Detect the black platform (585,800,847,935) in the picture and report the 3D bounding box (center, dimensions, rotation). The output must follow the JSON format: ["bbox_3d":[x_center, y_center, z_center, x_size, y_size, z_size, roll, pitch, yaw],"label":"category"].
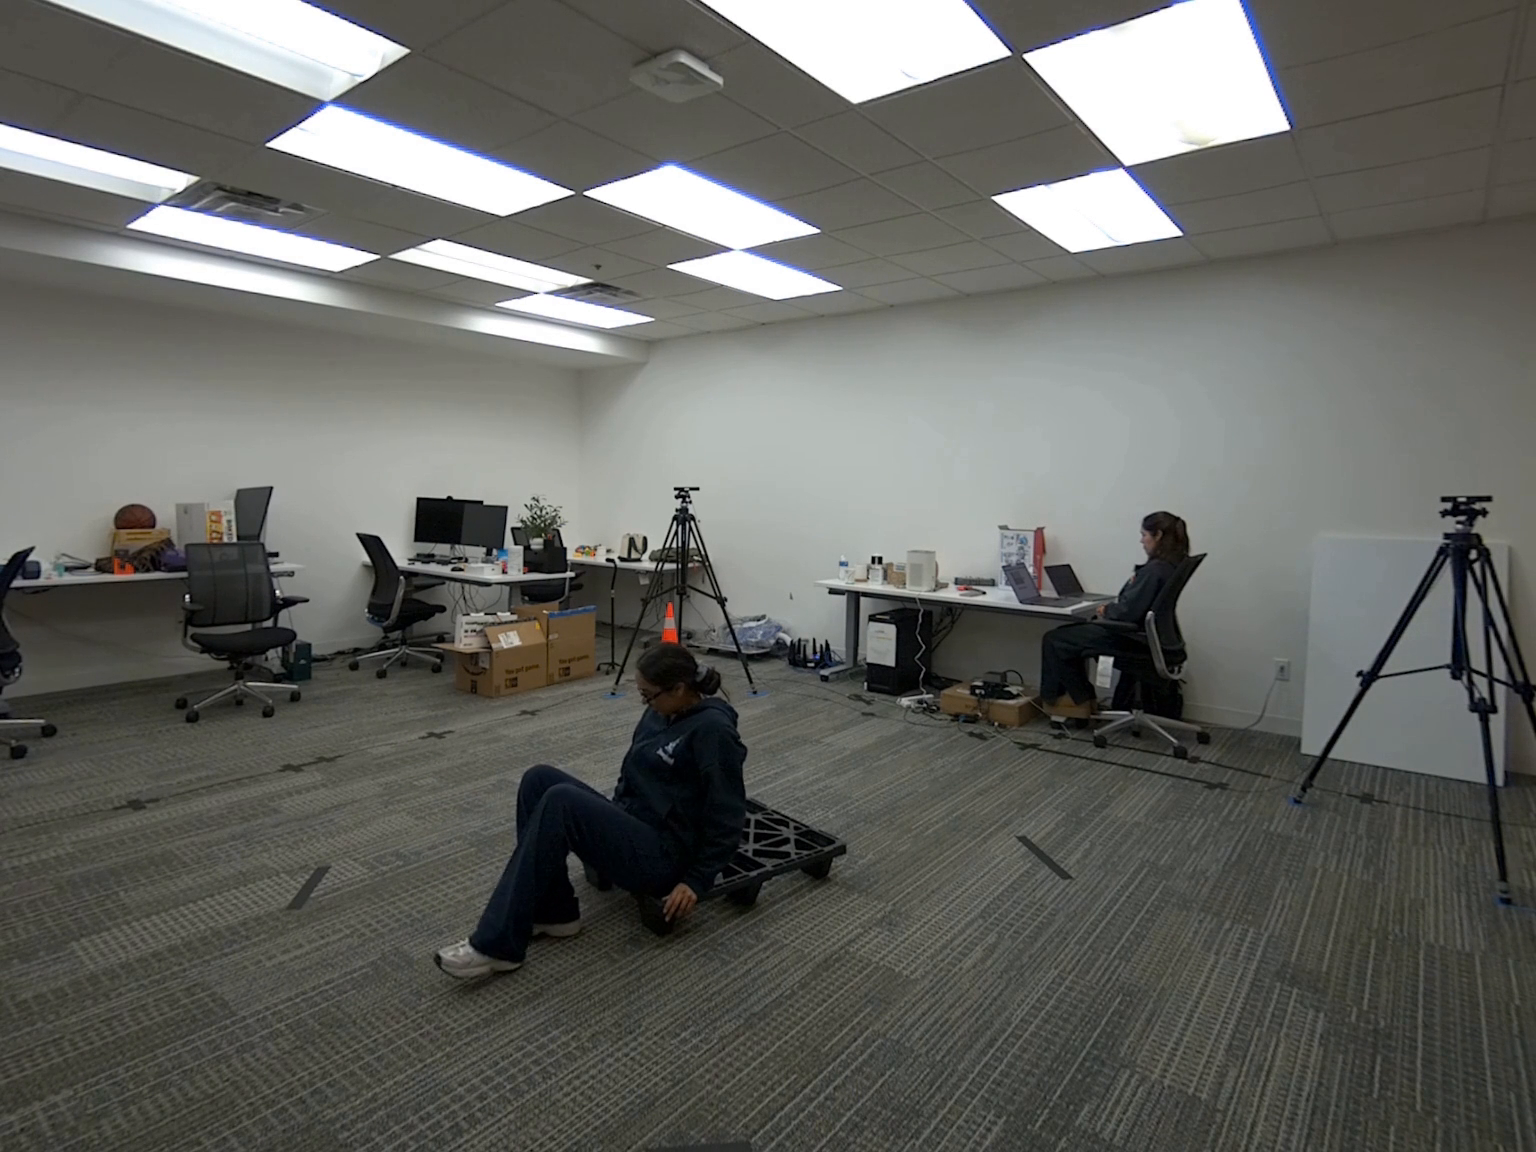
[{"bbox_3d":[-0.214,1.009,3.032,0.782,0.142,0.626,-4,8,-37],"label":"black platform"}]
